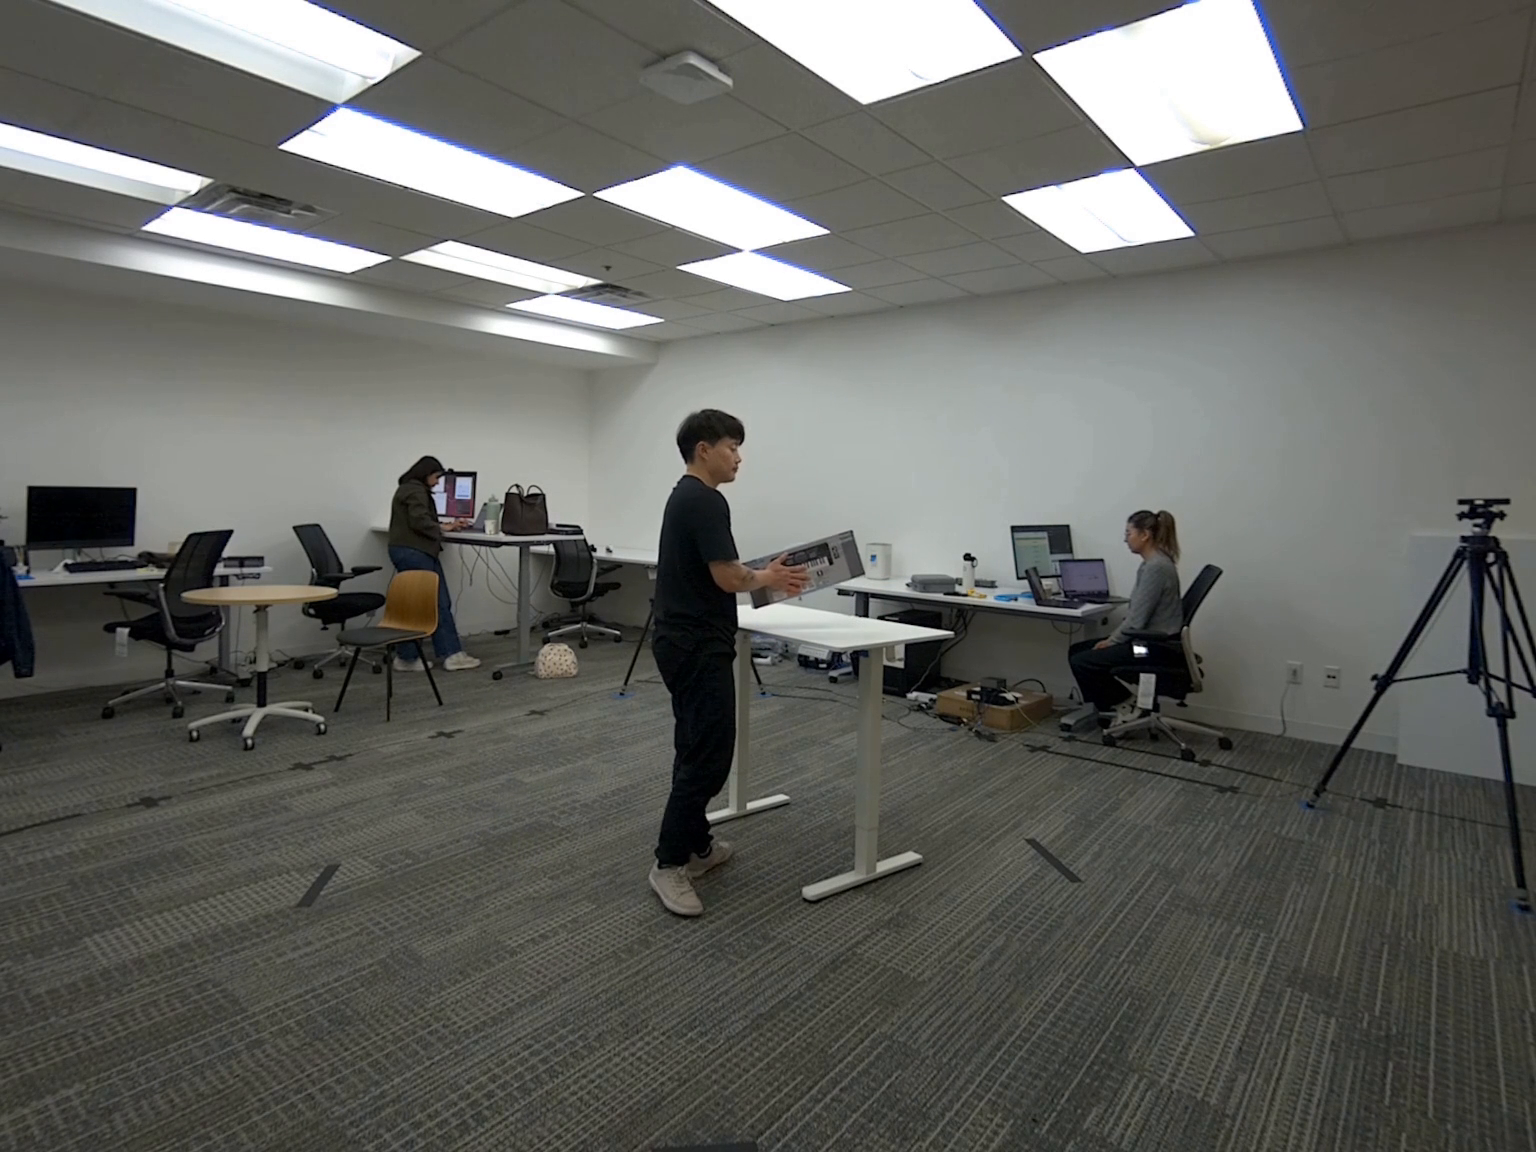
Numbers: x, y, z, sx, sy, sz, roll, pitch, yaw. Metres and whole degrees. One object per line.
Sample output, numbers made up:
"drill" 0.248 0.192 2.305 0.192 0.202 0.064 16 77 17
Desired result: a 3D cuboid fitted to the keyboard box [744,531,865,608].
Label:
"keyboard box" 0.118 -0.020 3.095 0.433 0.176 0.059 -17 0 -12
